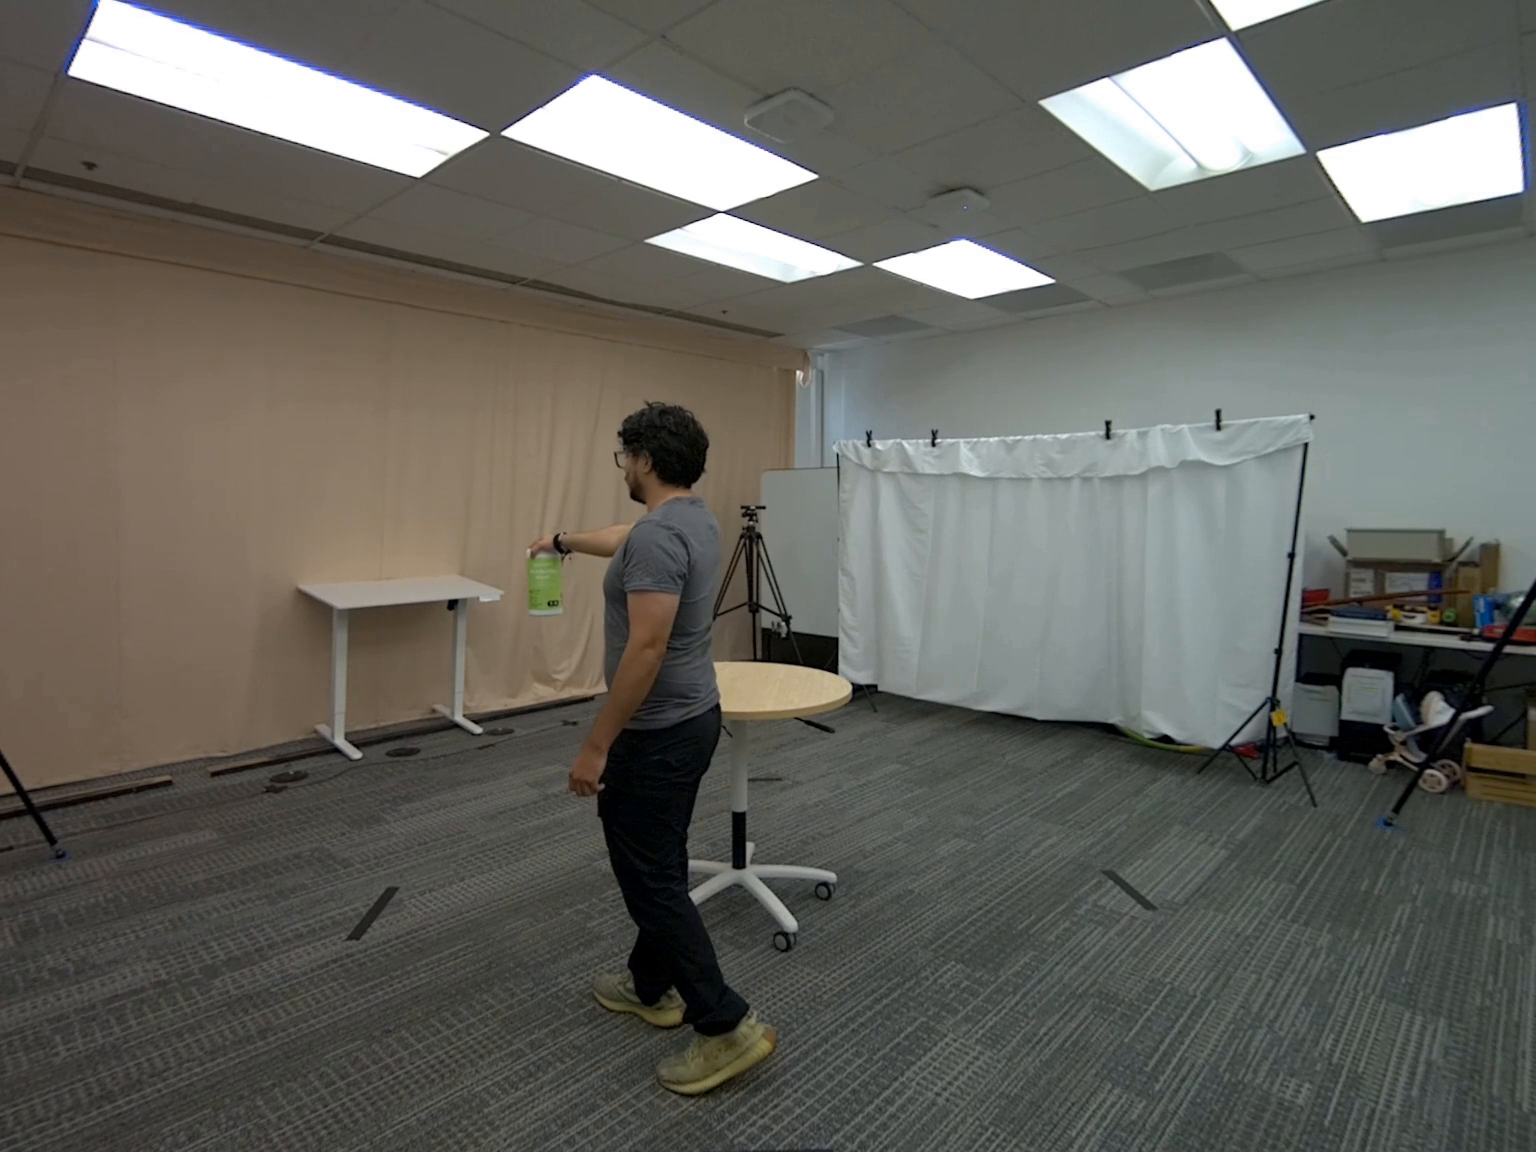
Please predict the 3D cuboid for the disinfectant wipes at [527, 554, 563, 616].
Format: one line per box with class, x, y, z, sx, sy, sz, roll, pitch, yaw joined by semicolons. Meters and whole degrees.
disinfectant wipes;-0.722;0.016;2.707;0.118;0.217;0.118;1;3;-2
